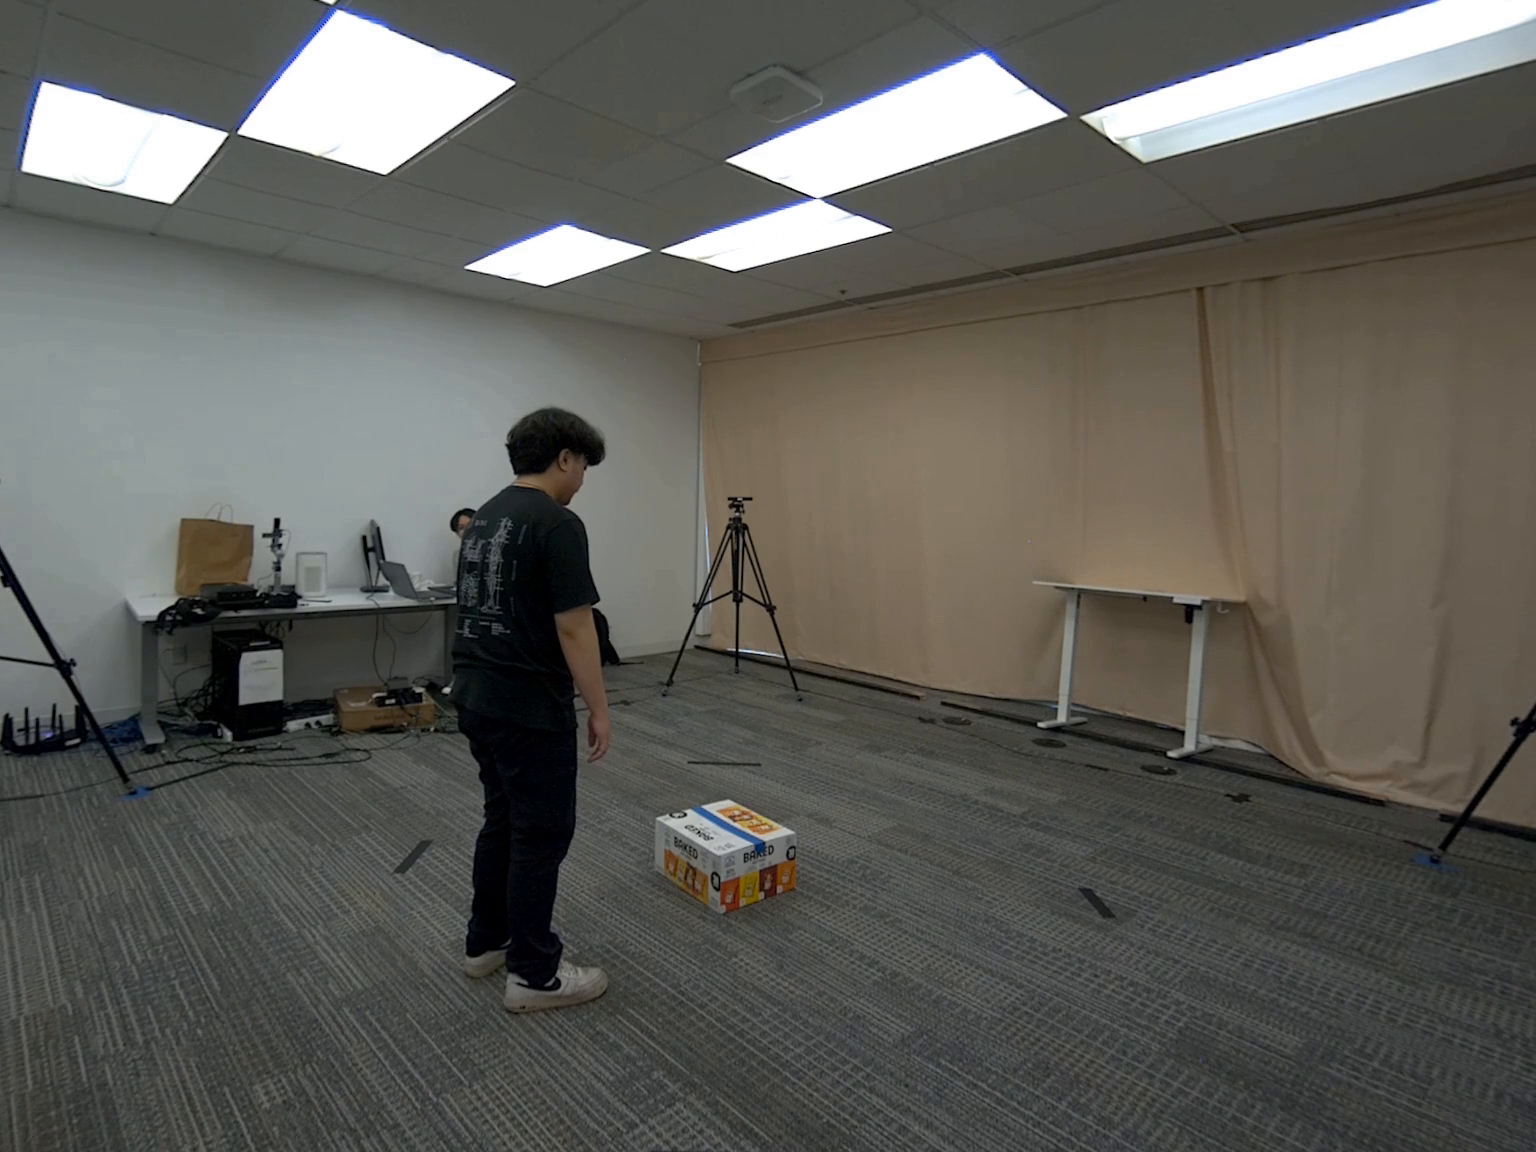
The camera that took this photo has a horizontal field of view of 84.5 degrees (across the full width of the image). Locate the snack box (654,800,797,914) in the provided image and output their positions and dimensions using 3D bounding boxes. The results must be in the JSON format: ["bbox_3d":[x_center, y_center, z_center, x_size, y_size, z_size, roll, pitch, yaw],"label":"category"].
[{"bbox_3d":[-0.167,1.009,3.066,0.333,0.205,0.415,-2,6,-39],"label":"snack box"}]
